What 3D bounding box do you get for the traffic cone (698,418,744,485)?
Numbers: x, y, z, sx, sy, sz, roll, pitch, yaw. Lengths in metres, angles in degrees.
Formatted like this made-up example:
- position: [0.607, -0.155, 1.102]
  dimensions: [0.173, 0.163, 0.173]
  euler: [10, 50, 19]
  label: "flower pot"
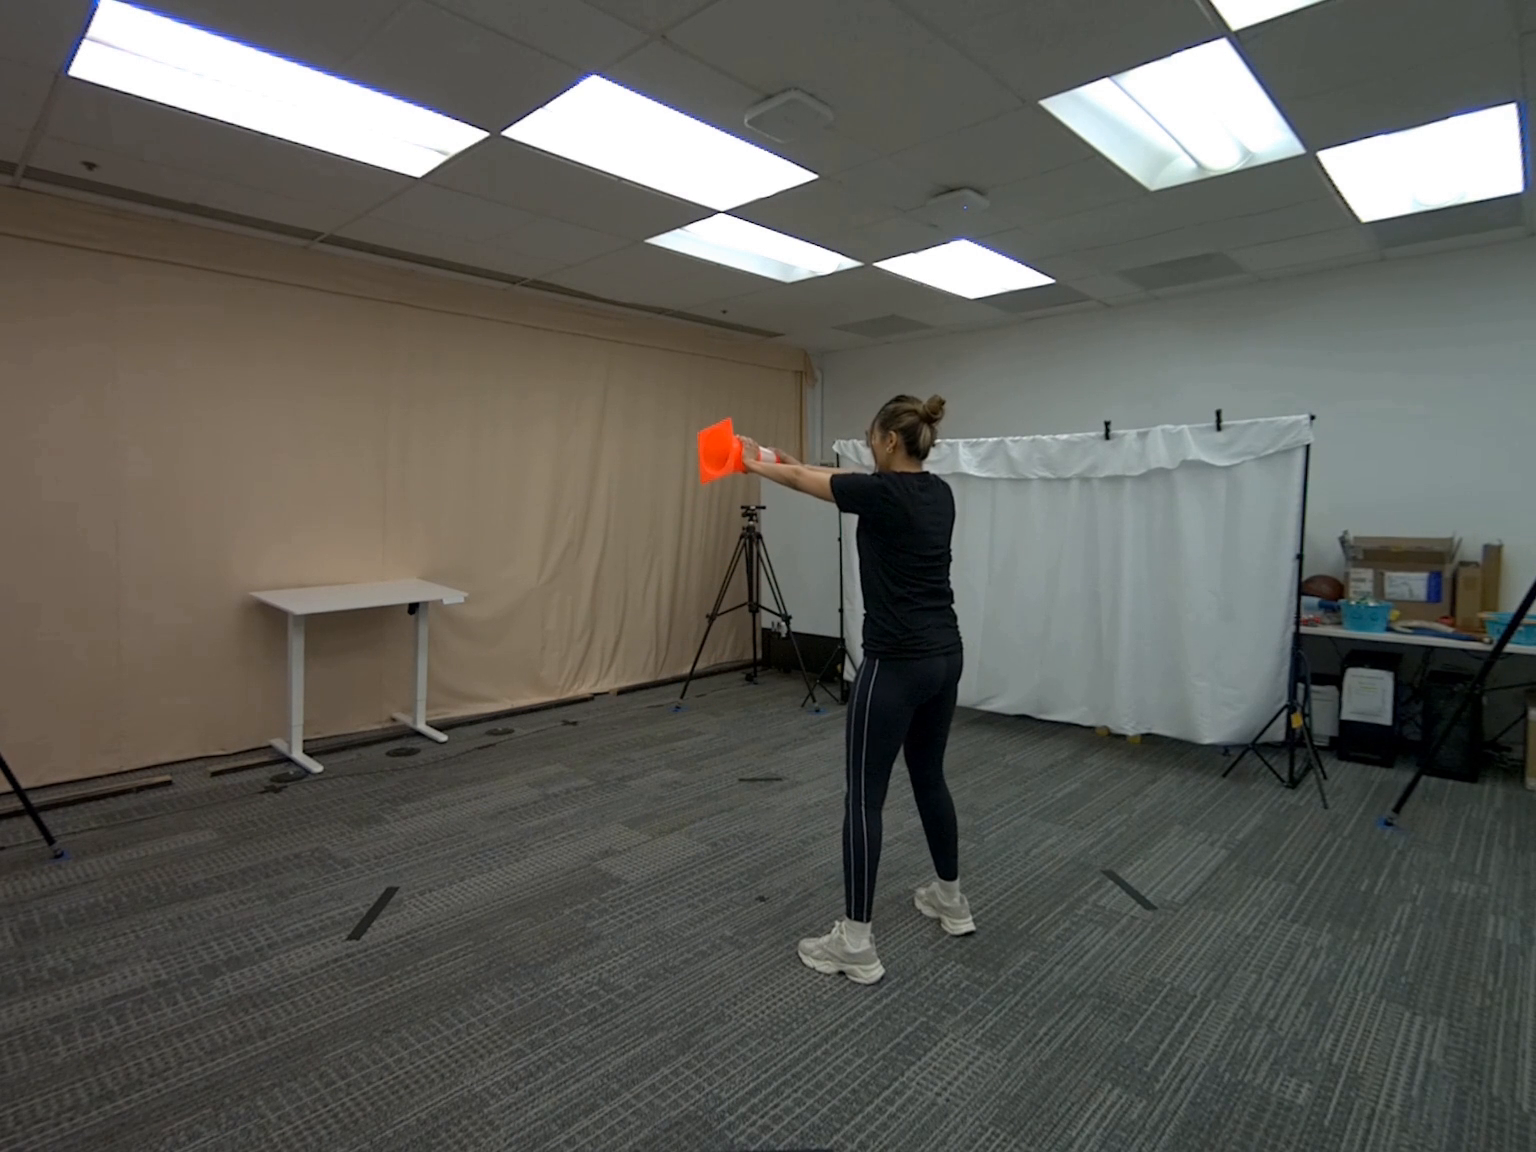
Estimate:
- position: [-0.041, -0.425, 3.105]
  dimensions: [0.371, 0.206, 0.208]
  euler: [5, -13, -38]
  label: "traffic cone"
